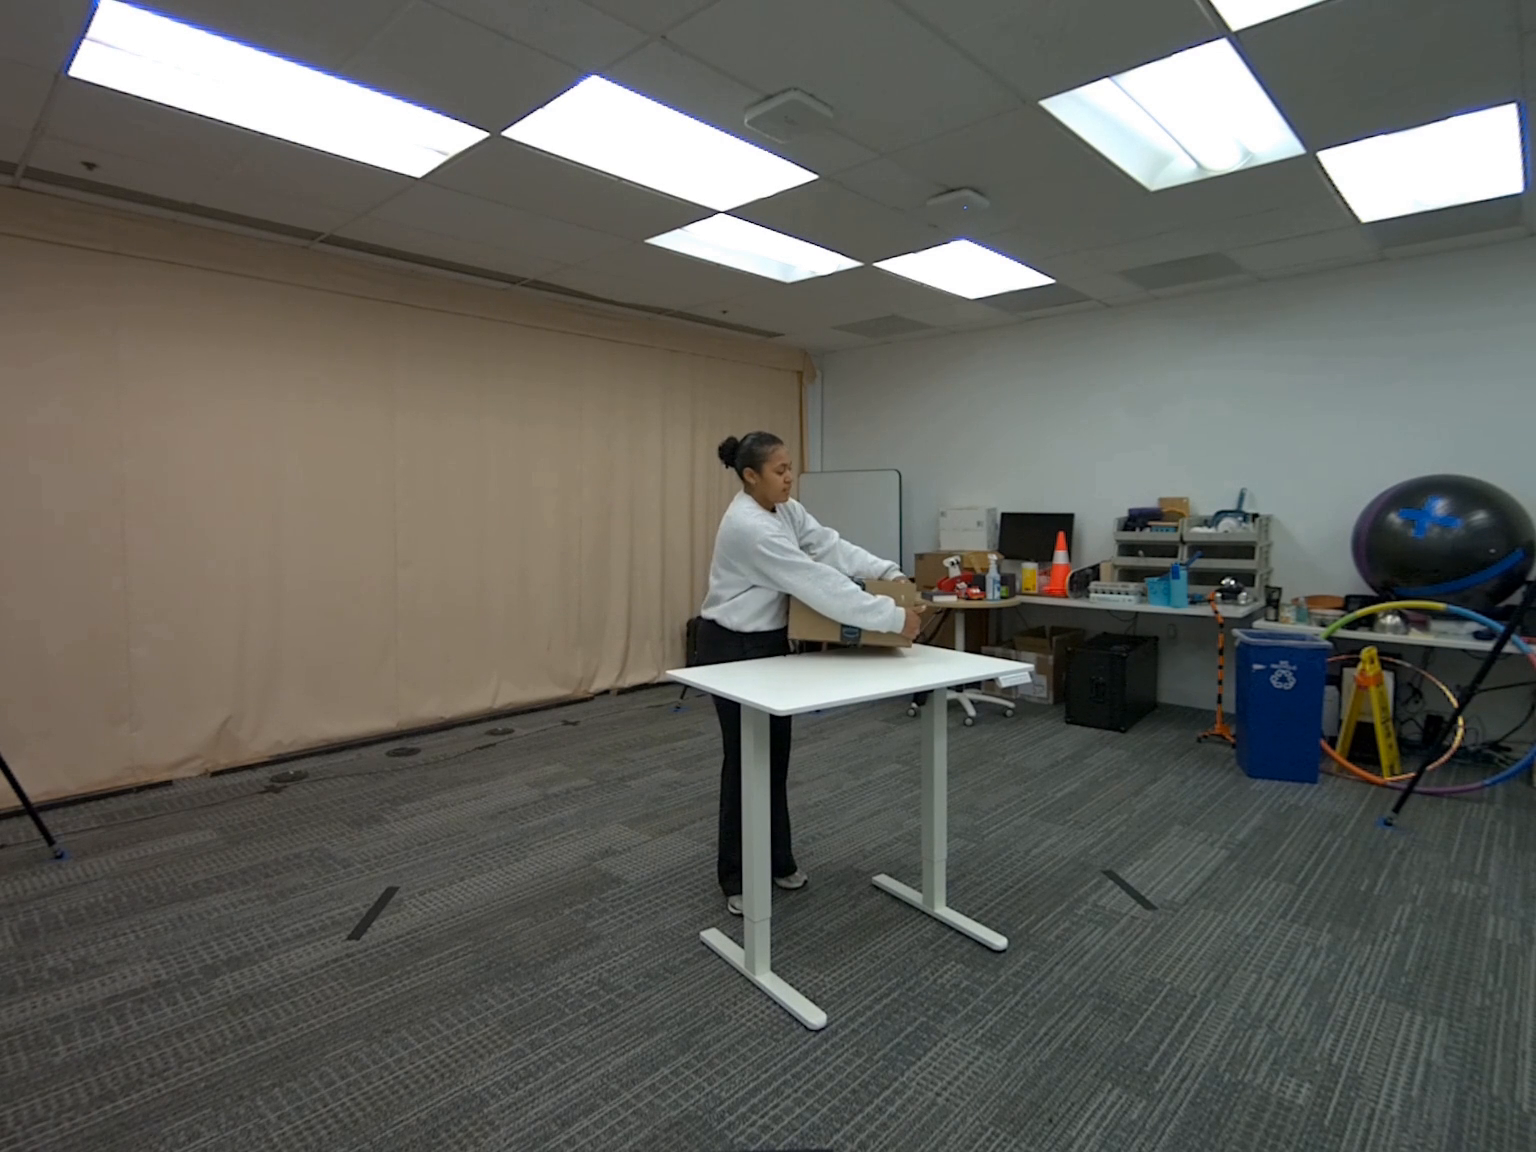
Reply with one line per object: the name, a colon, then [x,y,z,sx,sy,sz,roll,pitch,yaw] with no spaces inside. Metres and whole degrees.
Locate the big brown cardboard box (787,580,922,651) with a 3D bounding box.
big brown cardboard box: [0.285,0.129,3.077,0.418,0.234,0.586,3,-4,1]
